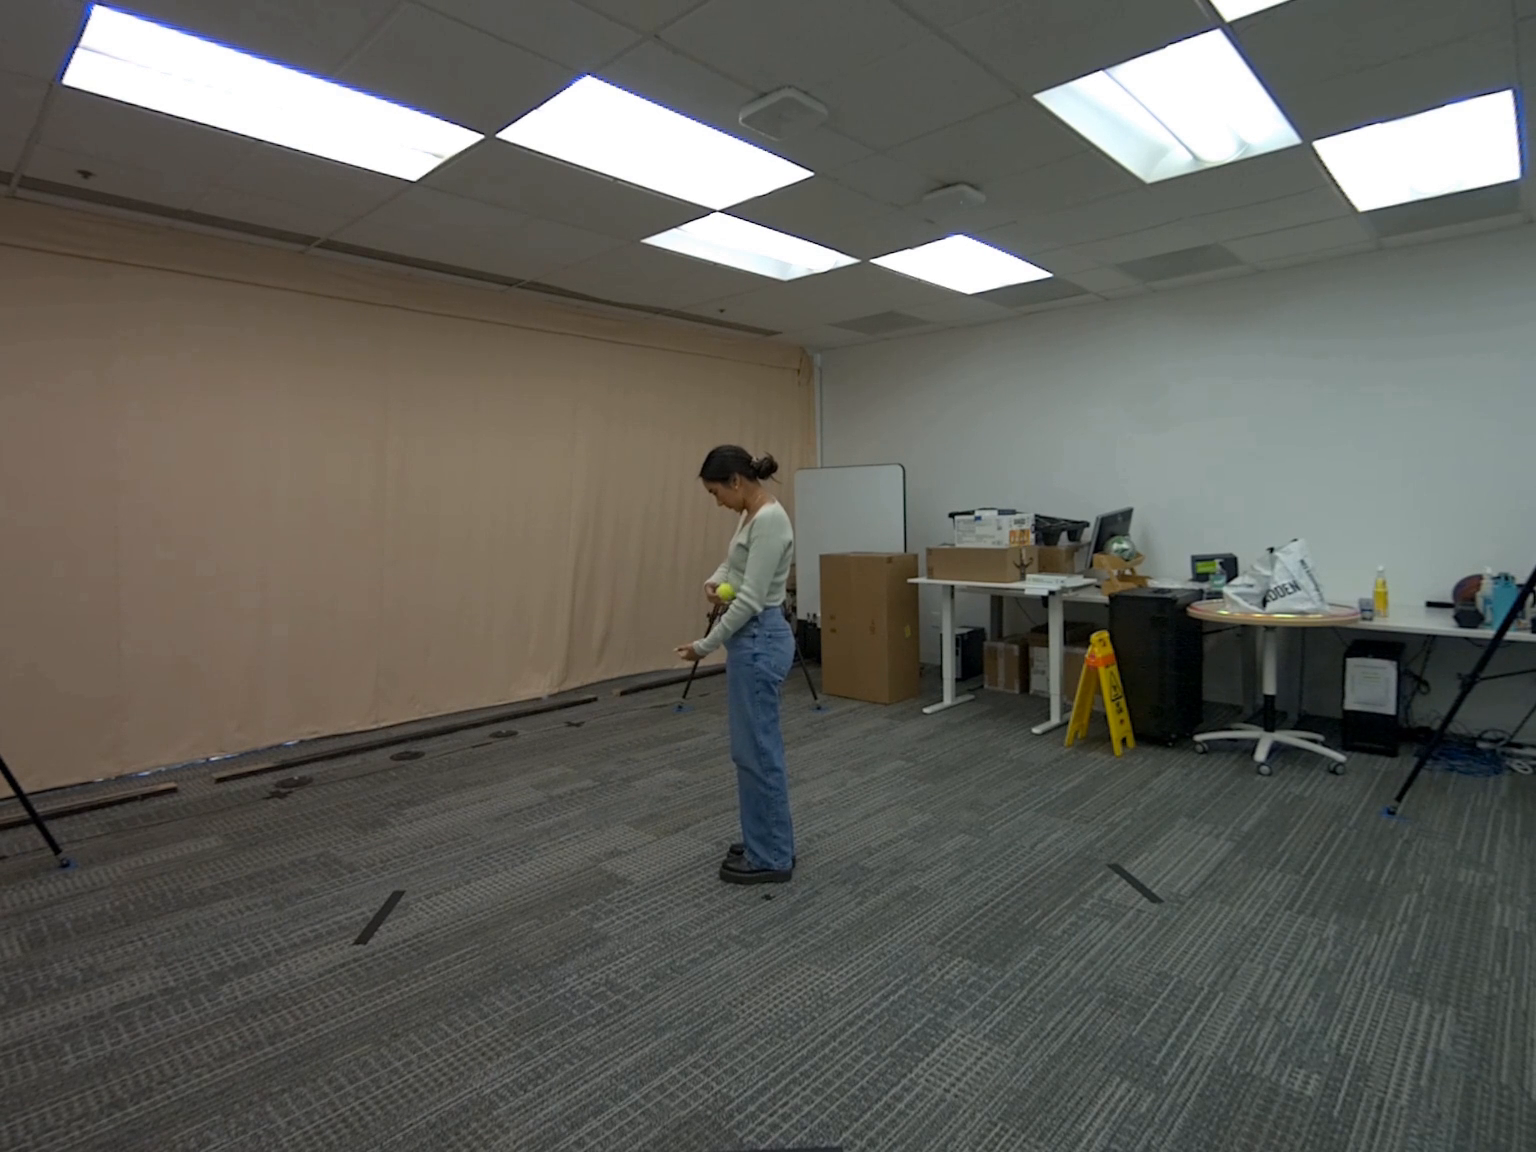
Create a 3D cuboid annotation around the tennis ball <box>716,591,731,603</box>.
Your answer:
[{"bbox_3d":[-0.199,0.123,3.064,0.066,0.066,0.067,-1,4,-2],"label":"tennis ball"}]
